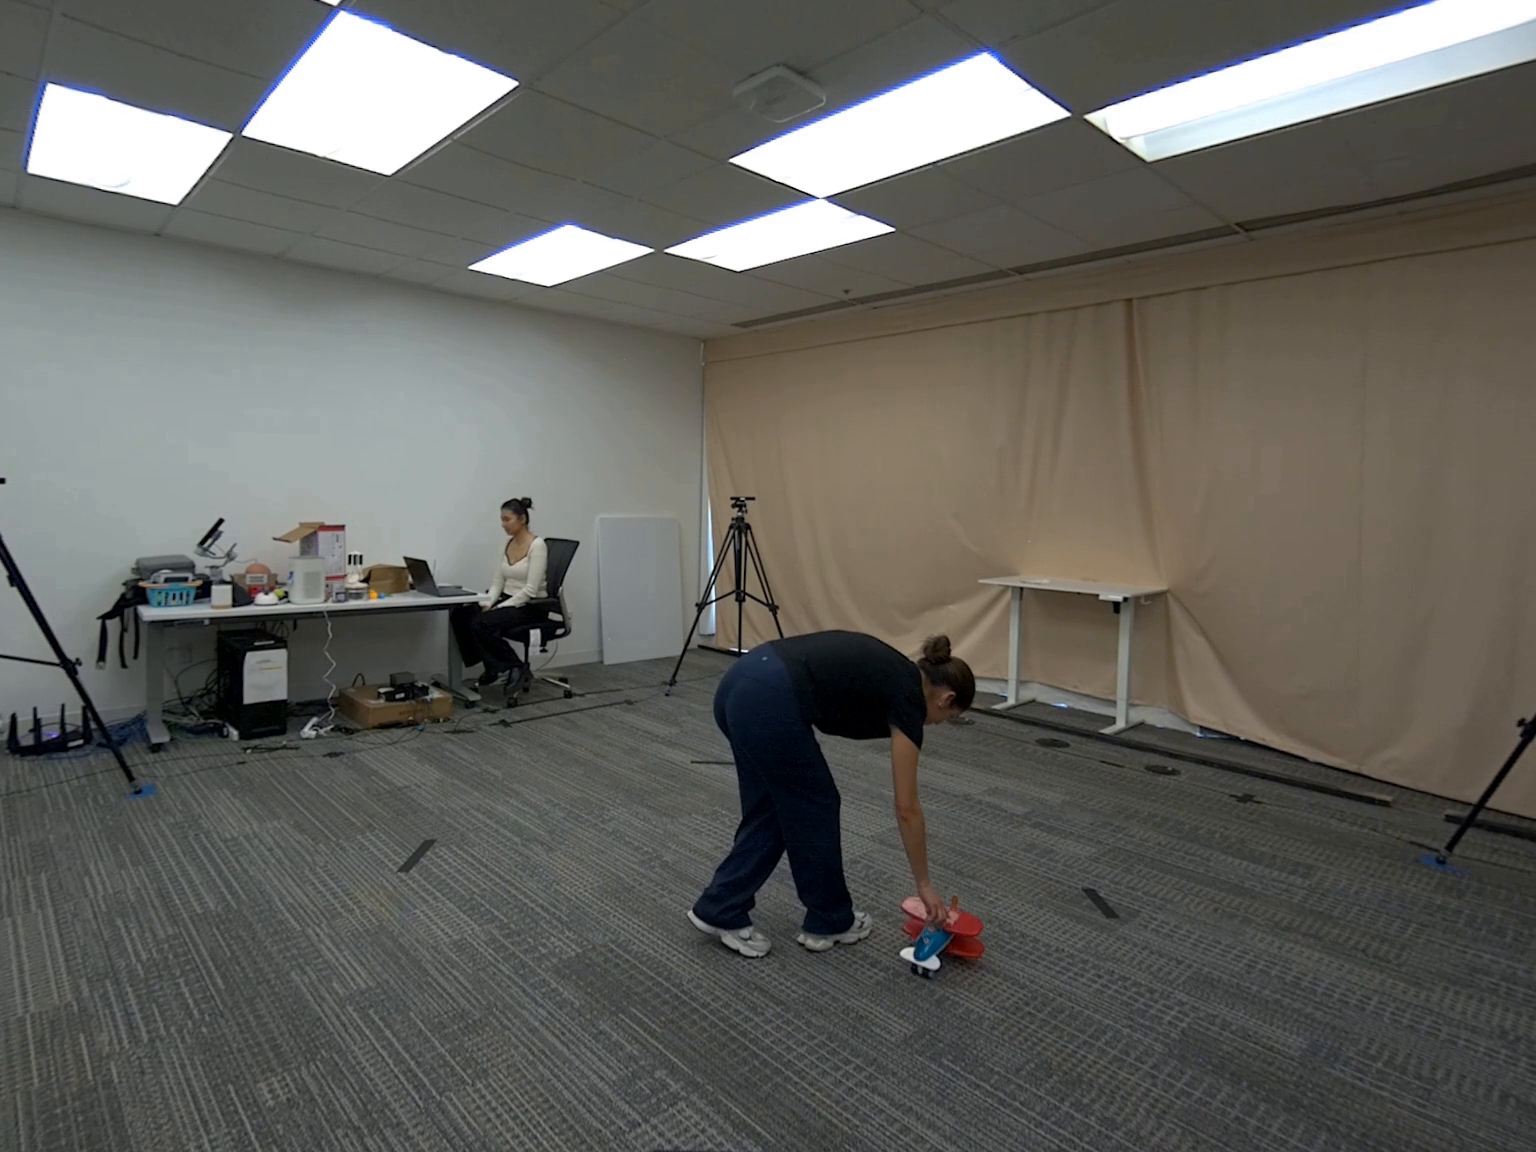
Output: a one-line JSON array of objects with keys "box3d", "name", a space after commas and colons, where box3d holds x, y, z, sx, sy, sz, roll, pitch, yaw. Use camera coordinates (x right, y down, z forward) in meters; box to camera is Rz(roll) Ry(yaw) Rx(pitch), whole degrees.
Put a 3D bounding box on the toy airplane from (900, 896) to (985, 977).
[{"box3d": [0.522, 1.102, 2.526, 0.253, 0.156, 0.257, 2, 3, 9], "name": "toy airplane"}]
